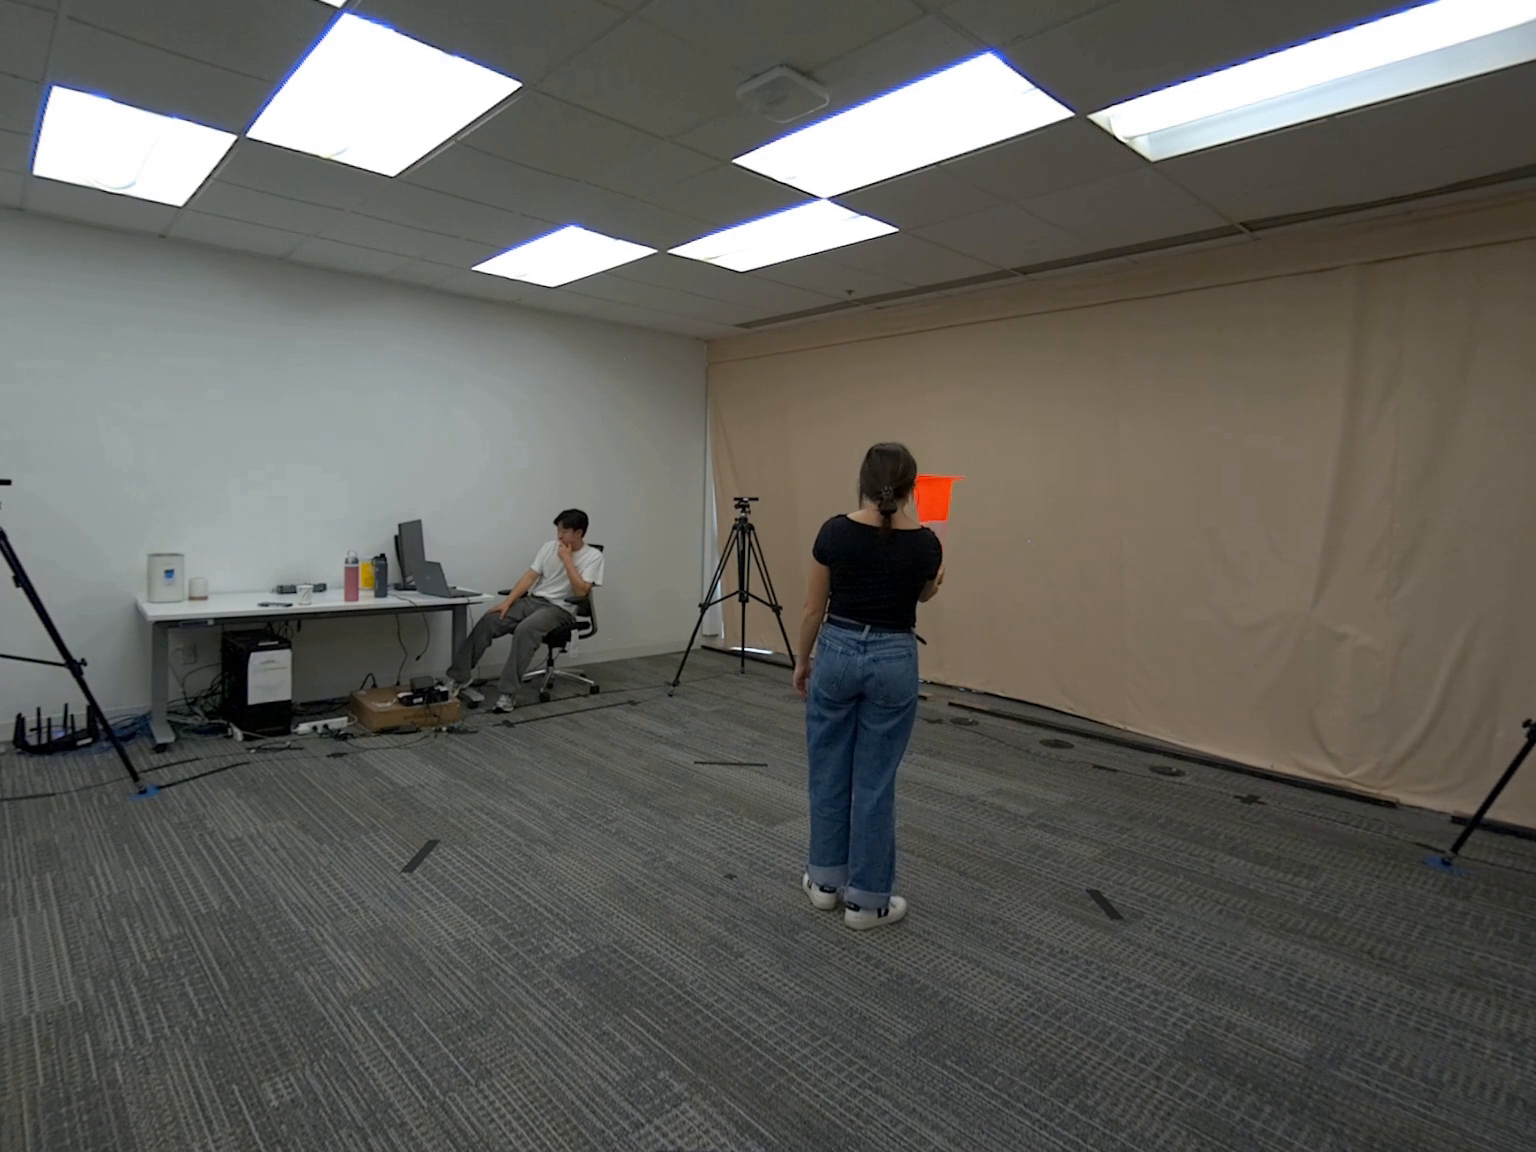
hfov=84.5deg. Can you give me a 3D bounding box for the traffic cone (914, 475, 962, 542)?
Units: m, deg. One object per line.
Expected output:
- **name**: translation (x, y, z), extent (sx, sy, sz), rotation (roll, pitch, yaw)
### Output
- **traffic cone**: translation (0.635, -0.176, 3.250), extent (0.204, 0.385, 0.204), rotation (3, -4, -7)
